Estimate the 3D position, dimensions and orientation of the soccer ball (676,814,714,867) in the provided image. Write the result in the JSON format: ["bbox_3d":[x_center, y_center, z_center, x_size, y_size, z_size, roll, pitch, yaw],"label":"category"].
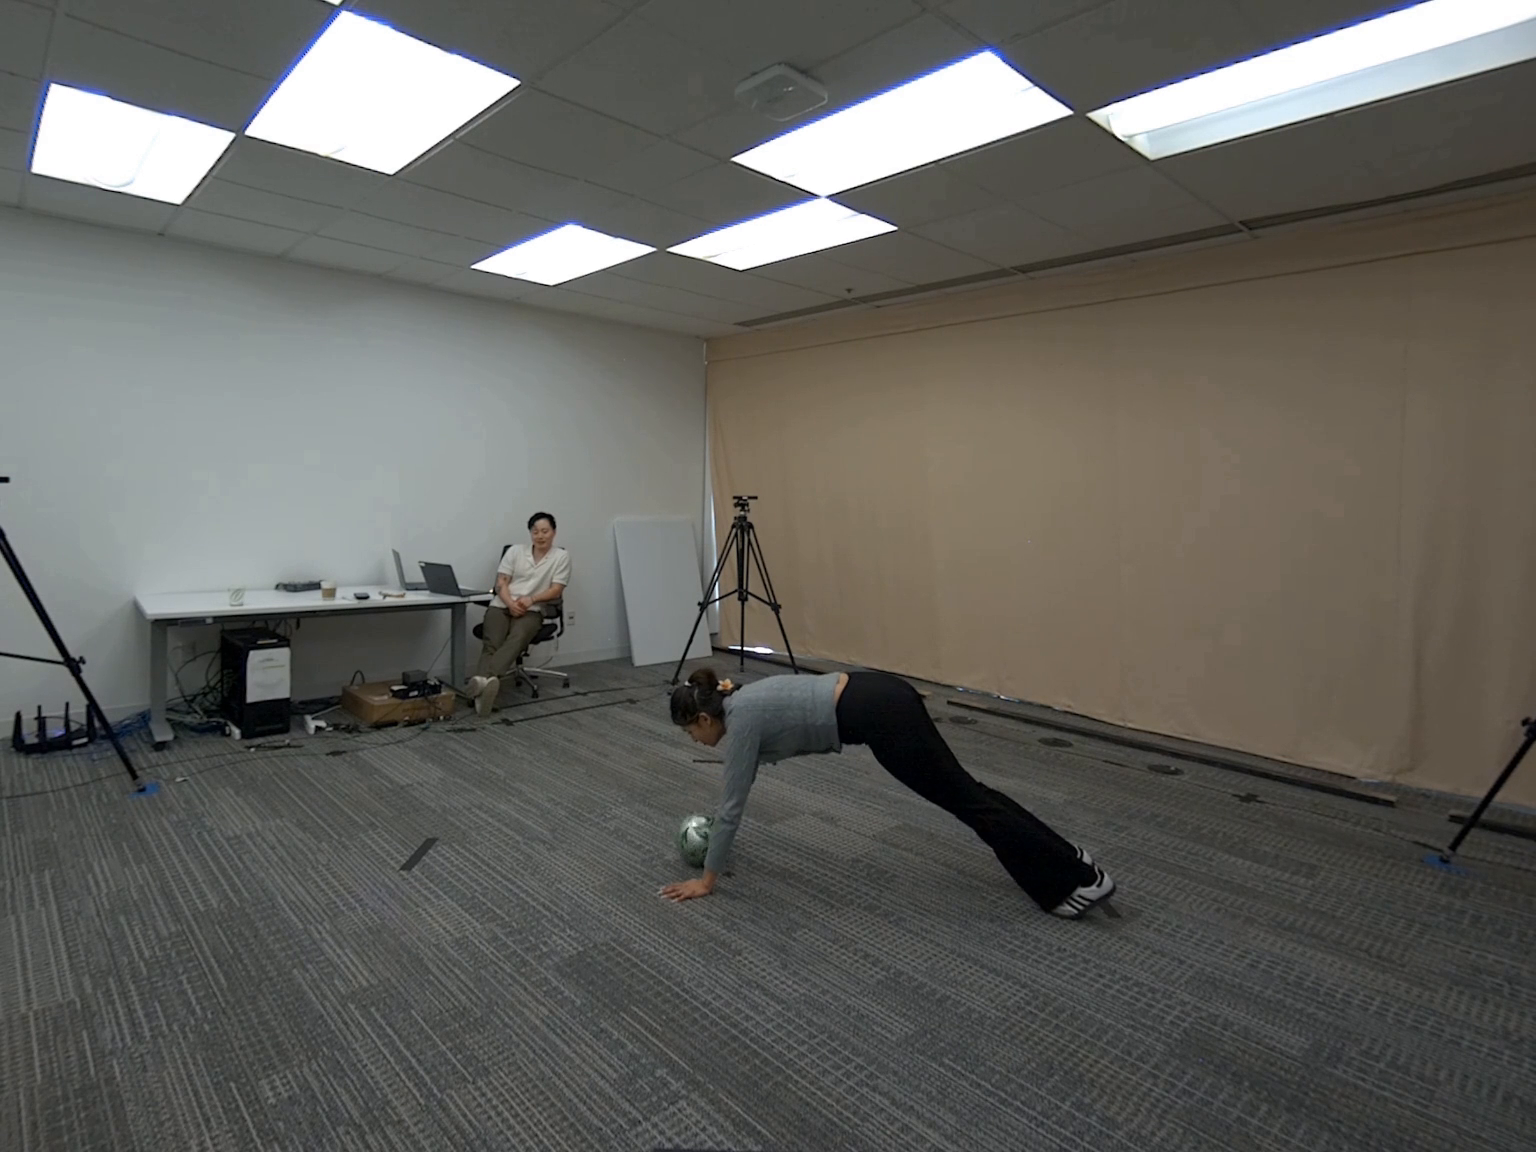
[{"bbox_3d":[-0.261,0.994,3.192,0.187,0.187,0.188,1,4,-1],"label":"soccer ball"}]
